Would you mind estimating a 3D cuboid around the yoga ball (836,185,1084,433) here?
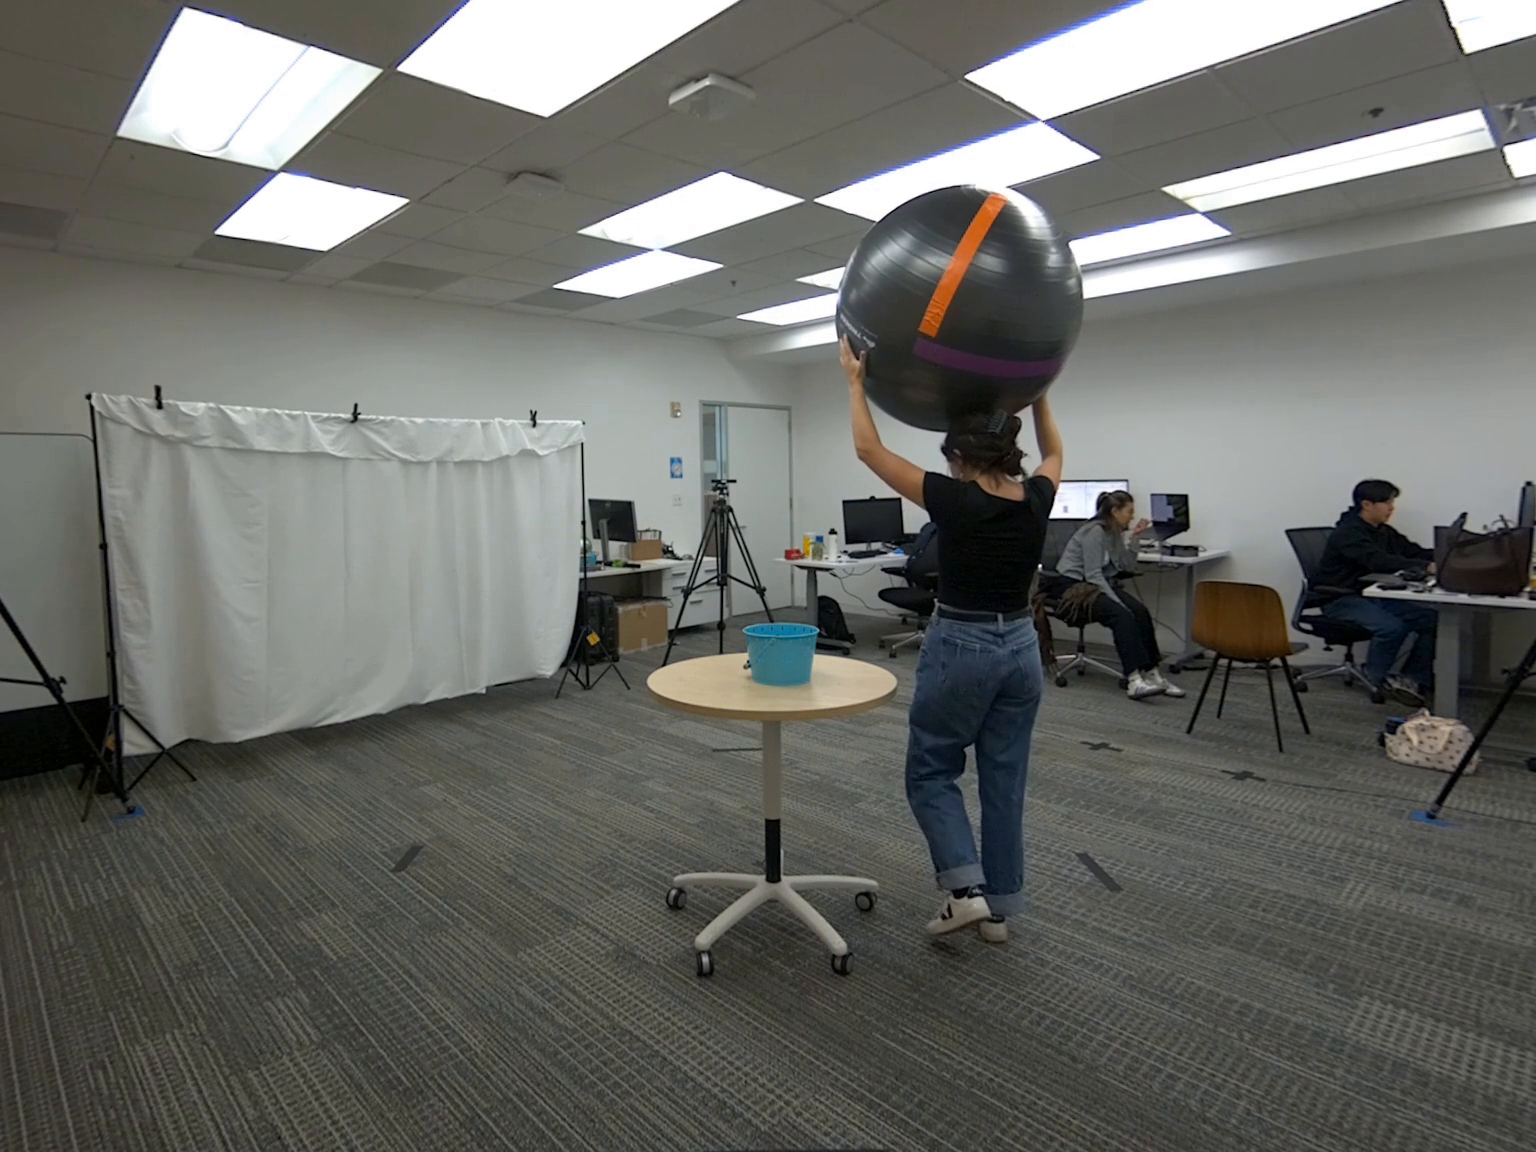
[{"bbox_3d":[0.596,-0.837,2.714,0.757,0.755,0.762,-1,5,-2],"label":"yoga ball"}]
